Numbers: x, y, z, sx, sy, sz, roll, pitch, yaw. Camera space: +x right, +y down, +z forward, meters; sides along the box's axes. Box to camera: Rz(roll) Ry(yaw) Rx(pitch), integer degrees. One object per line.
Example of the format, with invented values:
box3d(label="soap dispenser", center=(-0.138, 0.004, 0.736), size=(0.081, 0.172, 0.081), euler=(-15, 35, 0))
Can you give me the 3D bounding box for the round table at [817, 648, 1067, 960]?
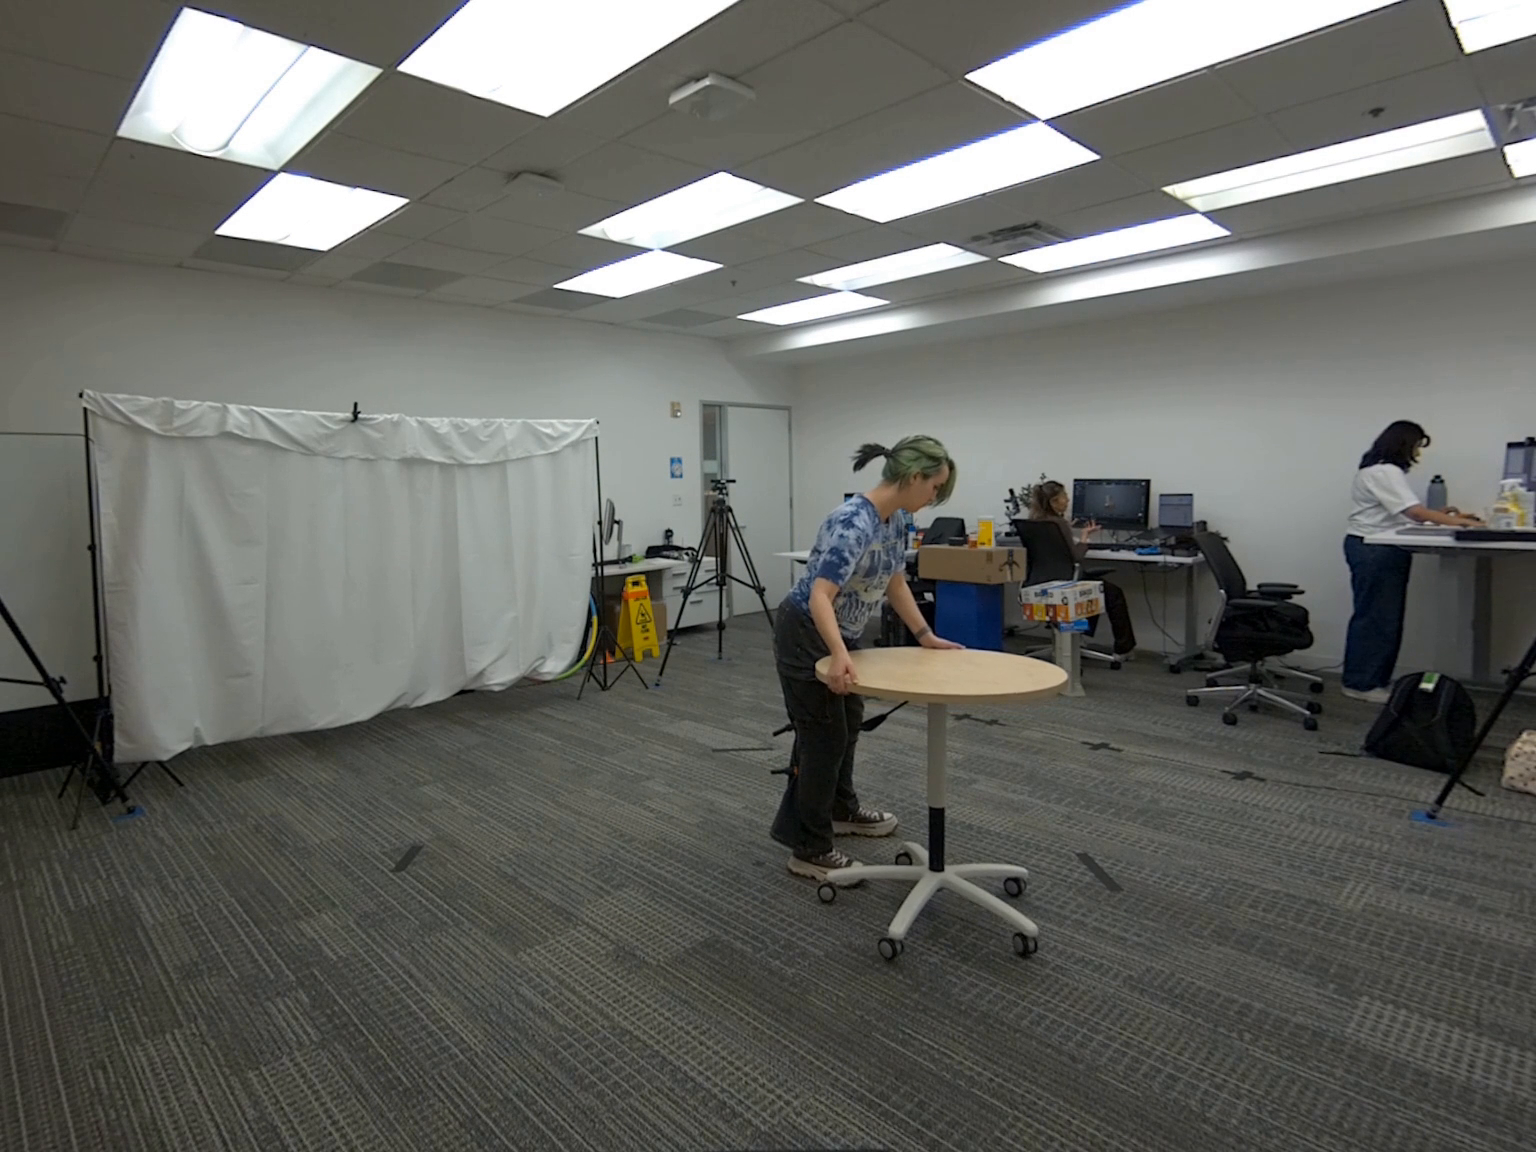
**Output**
box3d(label="round table", center=(0.545, 0.687, 2.700), size=(0.763, 0.792, 0.767), euler=(0, 3, -2))
